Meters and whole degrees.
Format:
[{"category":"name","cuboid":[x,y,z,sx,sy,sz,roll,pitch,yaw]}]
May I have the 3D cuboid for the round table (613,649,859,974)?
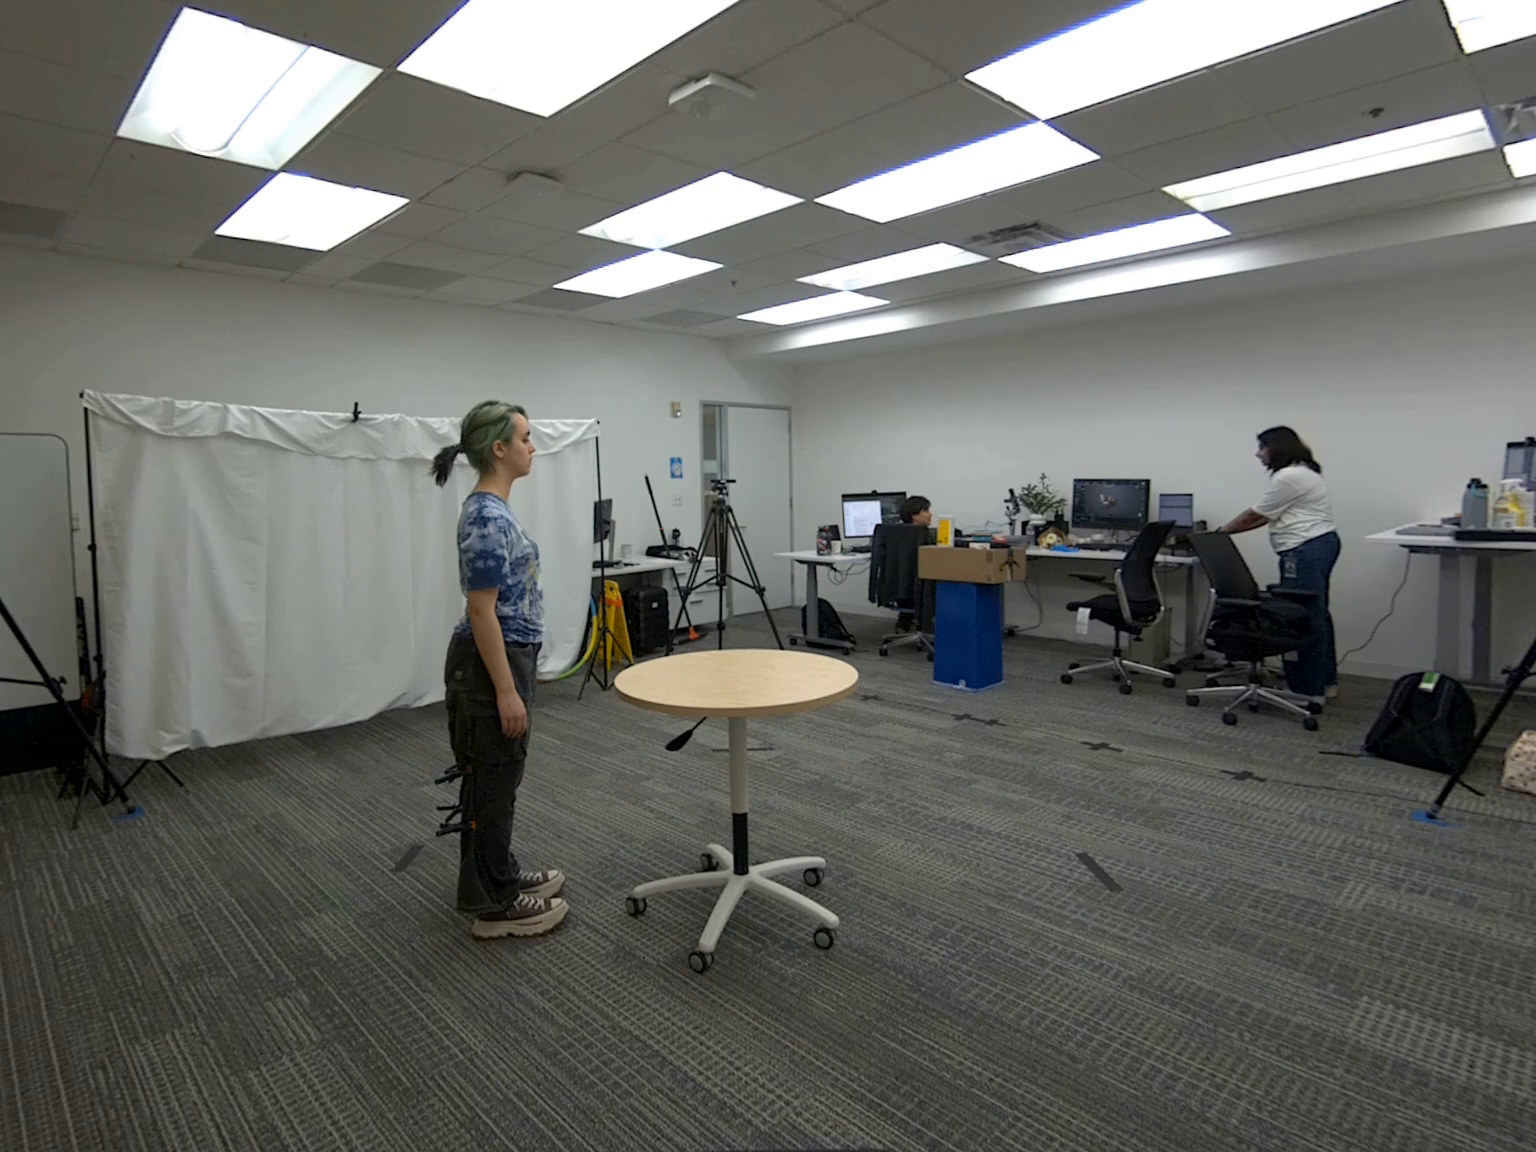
[{"category":"round table","cuboid":[-0.090,0.702,2.733,0.763,0.791,0.768,-2,5,-2]}]
